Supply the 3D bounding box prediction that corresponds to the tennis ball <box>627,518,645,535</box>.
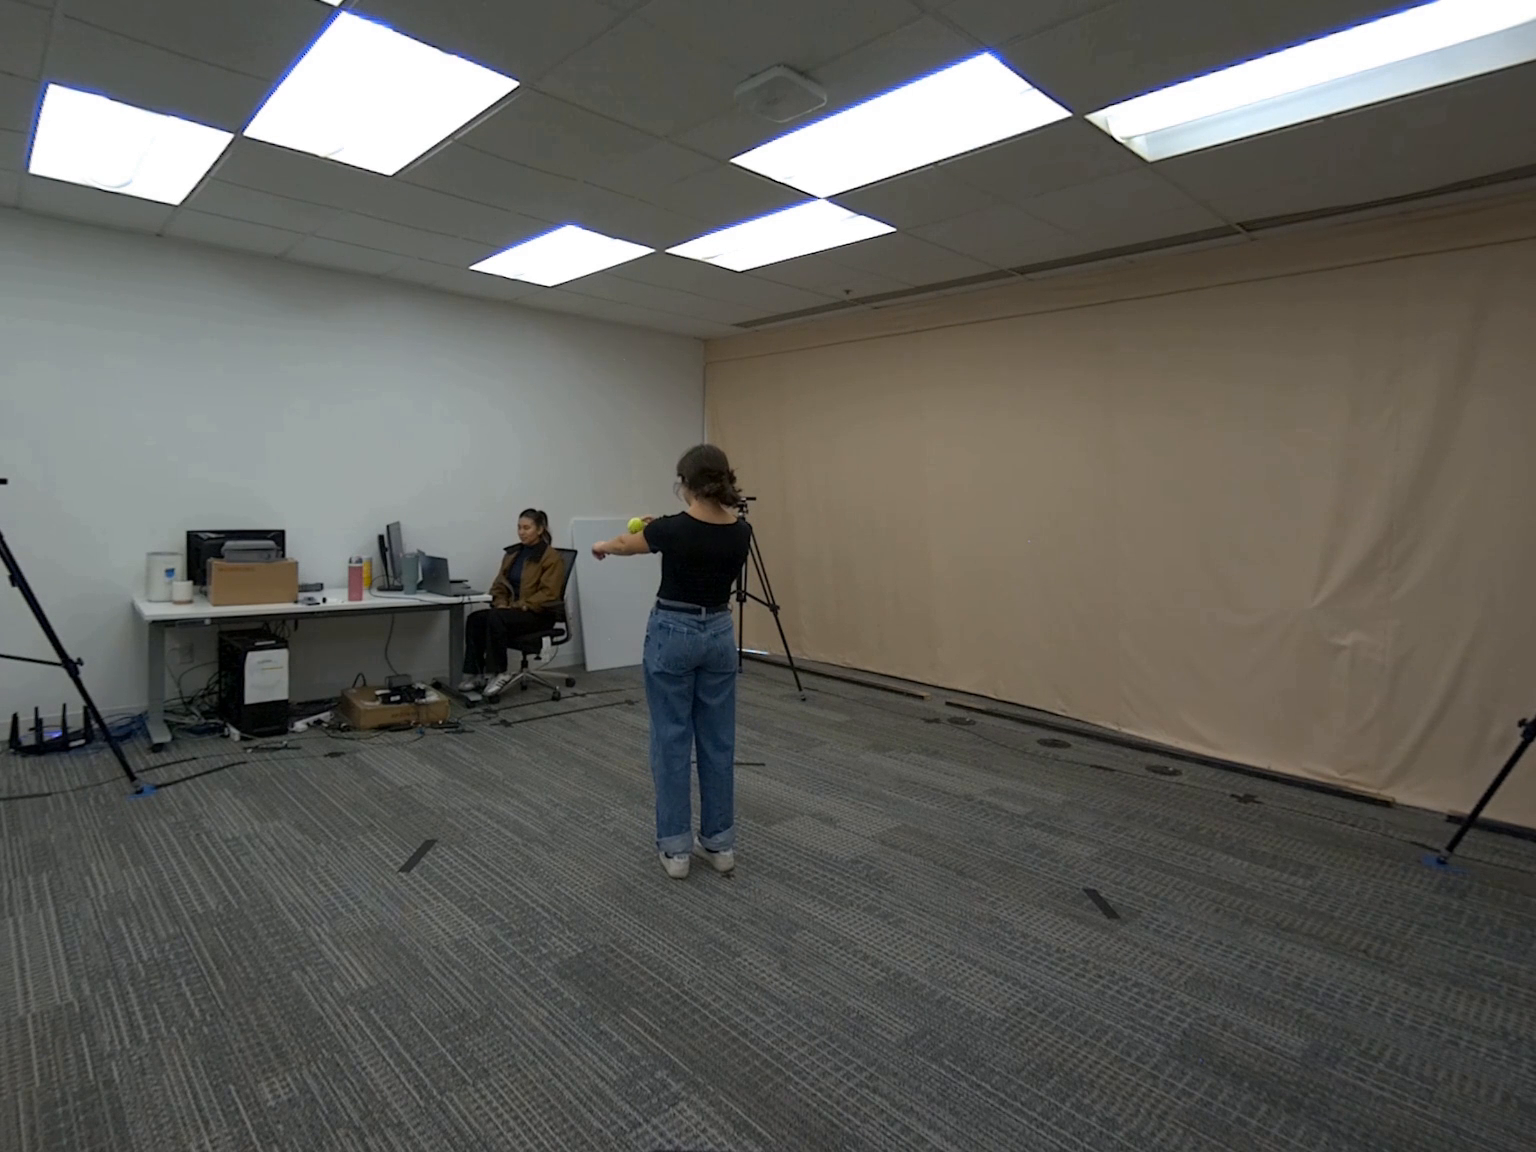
[{"bbox_3d":[-0.468,-0.187,3.229,0.066,0.066,0.067,1,4,-1],"label":"tennis ball"}]
